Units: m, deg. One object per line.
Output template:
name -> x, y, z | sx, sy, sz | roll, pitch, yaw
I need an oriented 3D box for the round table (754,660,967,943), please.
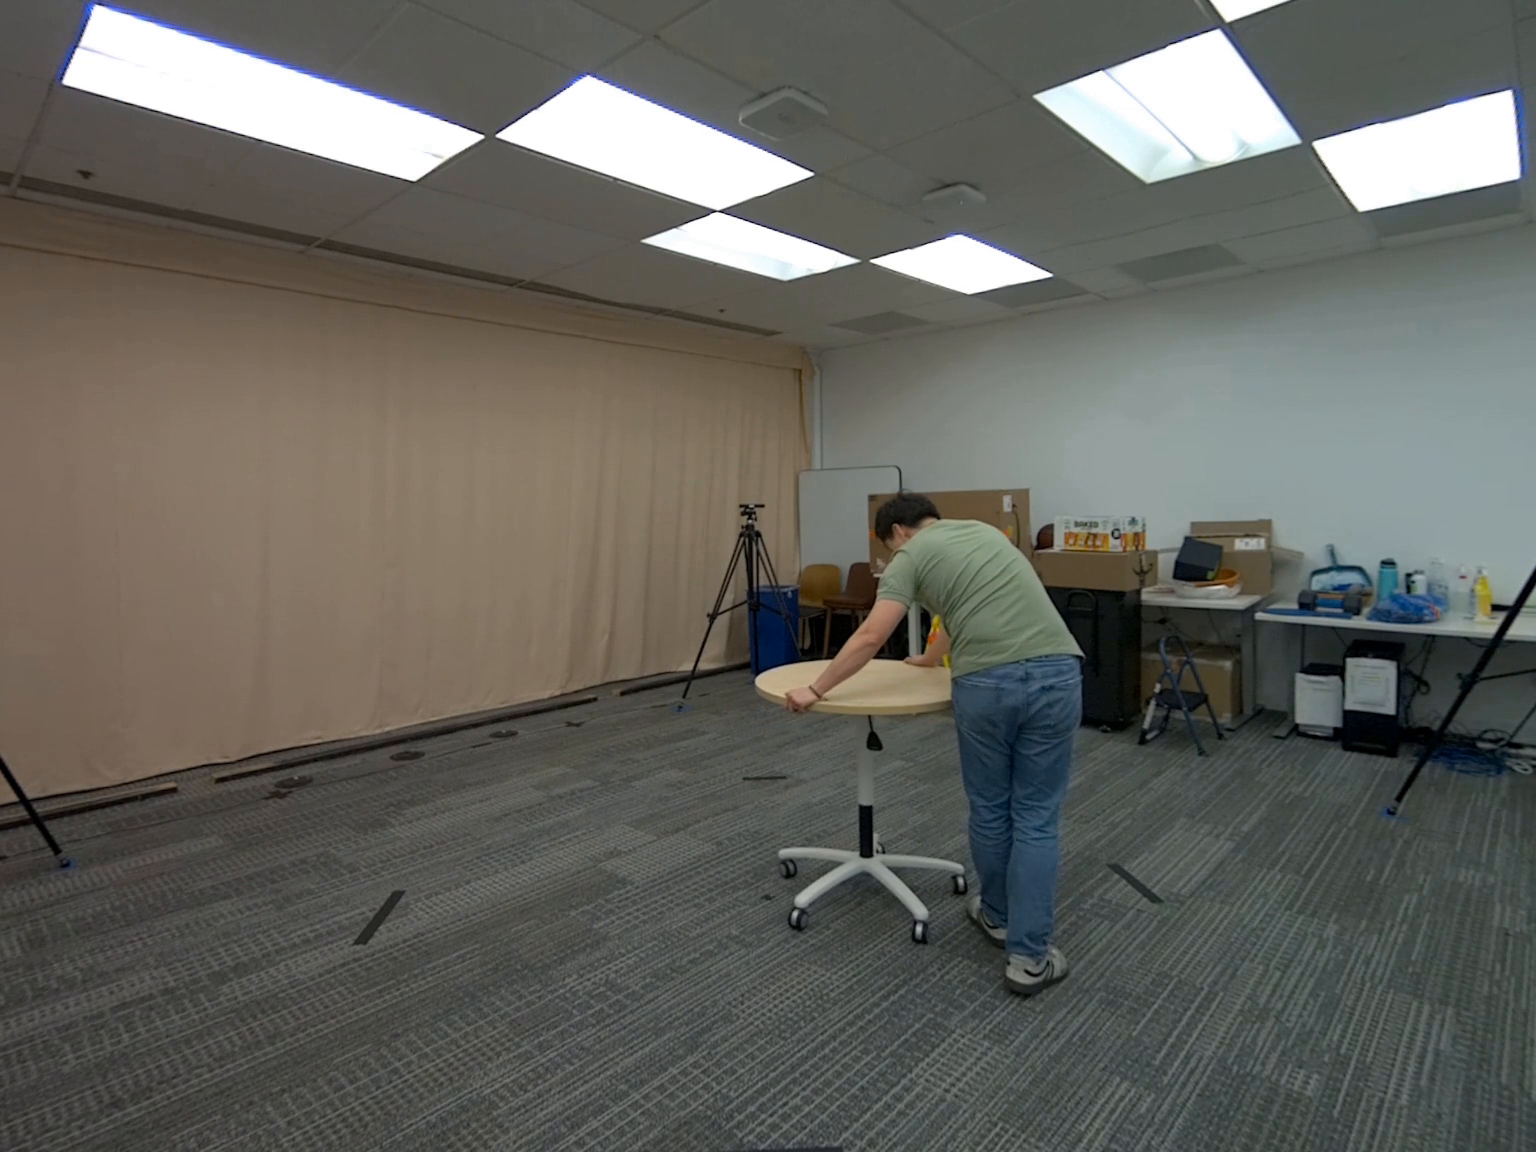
round table -> 0.348, 0.750, 2.973 | 0.763, 0.792, 0.767 | -1, 4, -2
